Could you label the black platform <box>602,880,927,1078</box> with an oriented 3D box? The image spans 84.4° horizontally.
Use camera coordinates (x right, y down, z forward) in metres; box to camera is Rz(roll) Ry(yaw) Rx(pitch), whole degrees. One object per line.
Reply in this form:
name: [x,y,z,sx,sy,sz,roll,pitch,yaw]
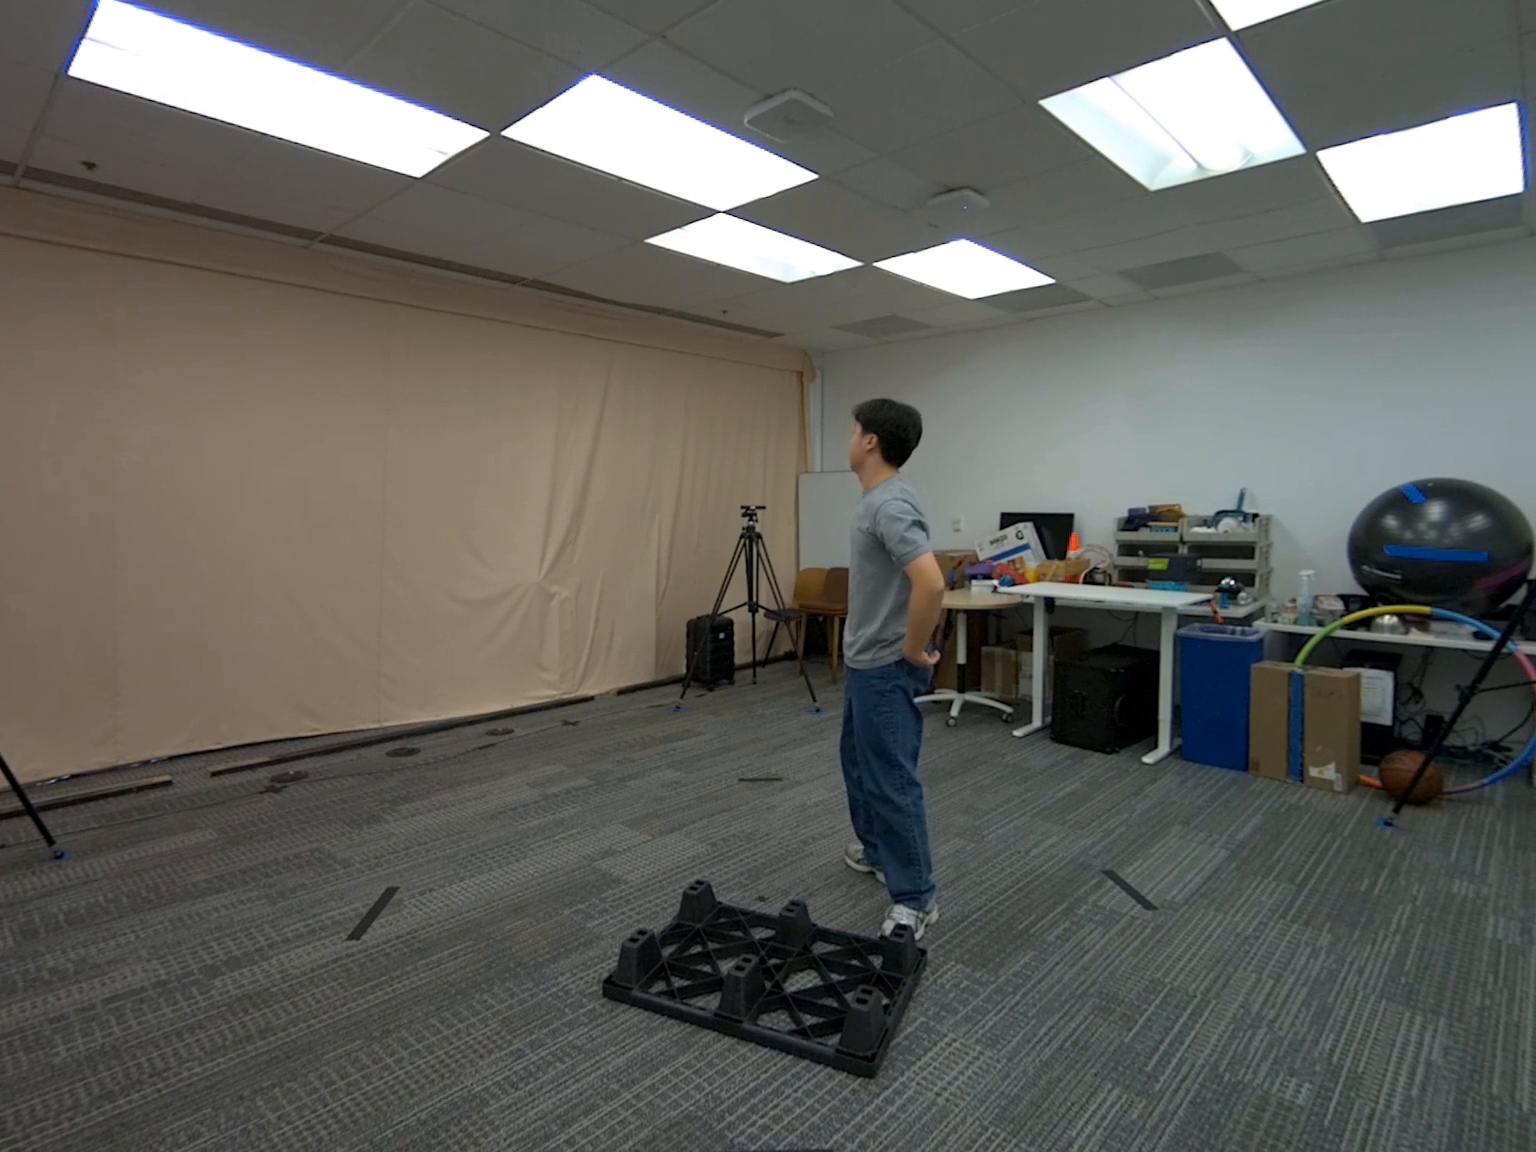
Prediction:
black platform: [0.003,1.120,2.472,0.826,0.143,0.591,2,5,25]
